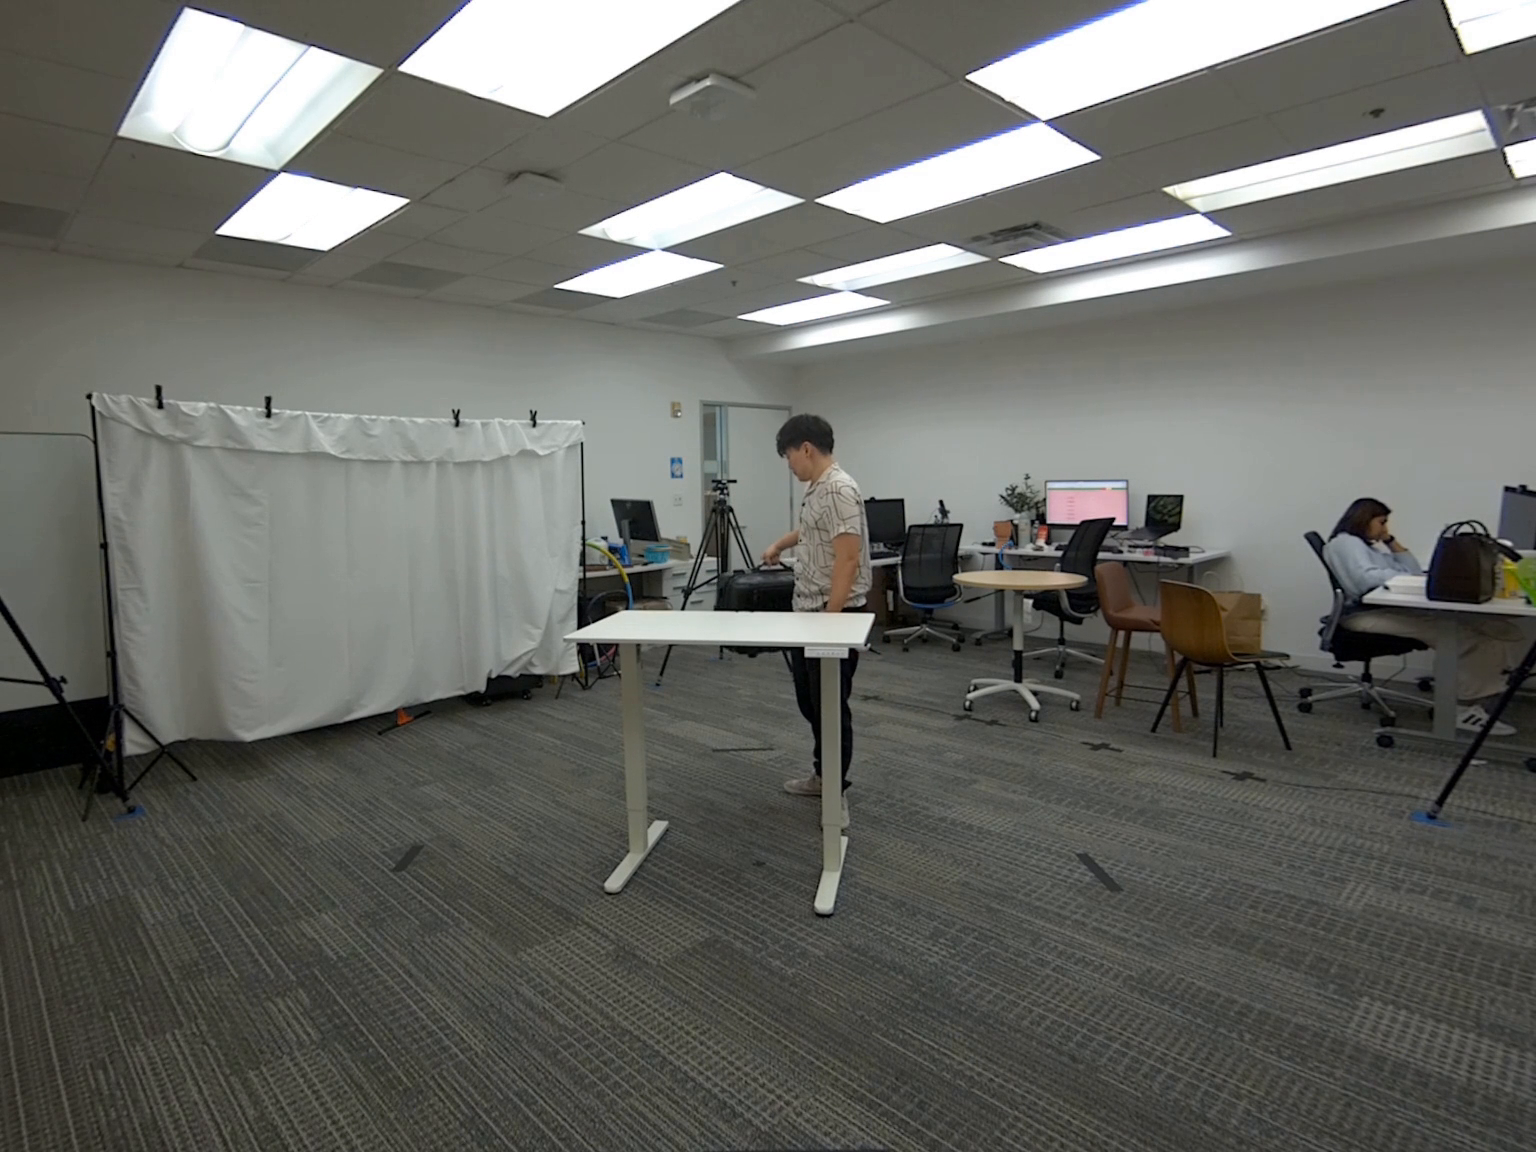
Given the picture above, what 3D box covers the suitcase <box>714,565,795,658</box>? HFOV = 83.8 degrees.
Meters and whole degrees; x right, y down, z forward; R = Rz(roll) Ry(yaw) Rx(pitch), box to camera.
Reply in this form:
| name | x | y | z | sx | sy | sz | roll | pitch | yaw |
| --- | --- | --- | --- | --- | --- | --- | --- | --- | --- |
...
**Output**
| name | x | y | z | sx | sy | sz | roll | pitch | yaw |
| --- | --- | --- | --- | --- | --- | --- | --- | --- | --- |
| suitcase | 0.031 | 0.153 | 3.948 | 0.536 | 0.373 | 0.256 | -1 | 10 | -30 |
